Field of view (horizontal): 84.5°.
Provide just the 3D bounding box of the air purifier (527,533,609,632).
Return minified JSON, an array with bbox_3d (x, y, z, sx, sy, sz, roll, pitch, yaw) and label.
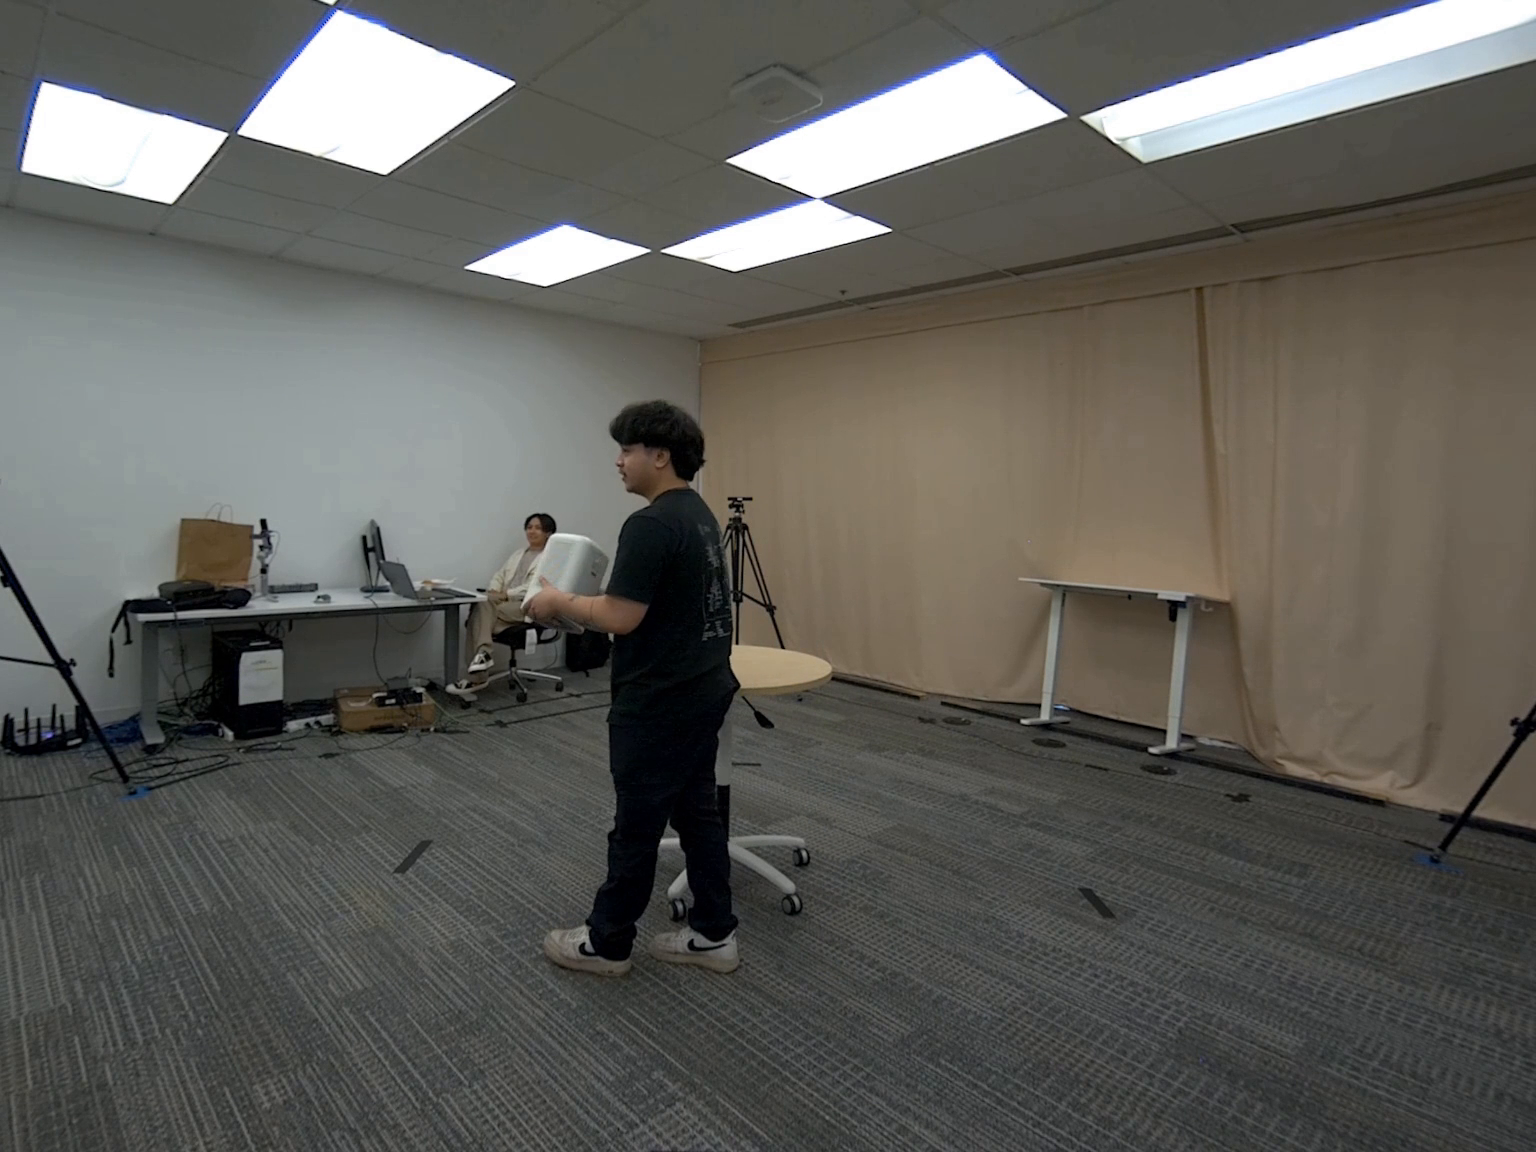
[{"bbox_3d":[-0.616,0.019,2.569,0.175,0.268,0.166,7,-24,24],"label":"air purifier"}]
